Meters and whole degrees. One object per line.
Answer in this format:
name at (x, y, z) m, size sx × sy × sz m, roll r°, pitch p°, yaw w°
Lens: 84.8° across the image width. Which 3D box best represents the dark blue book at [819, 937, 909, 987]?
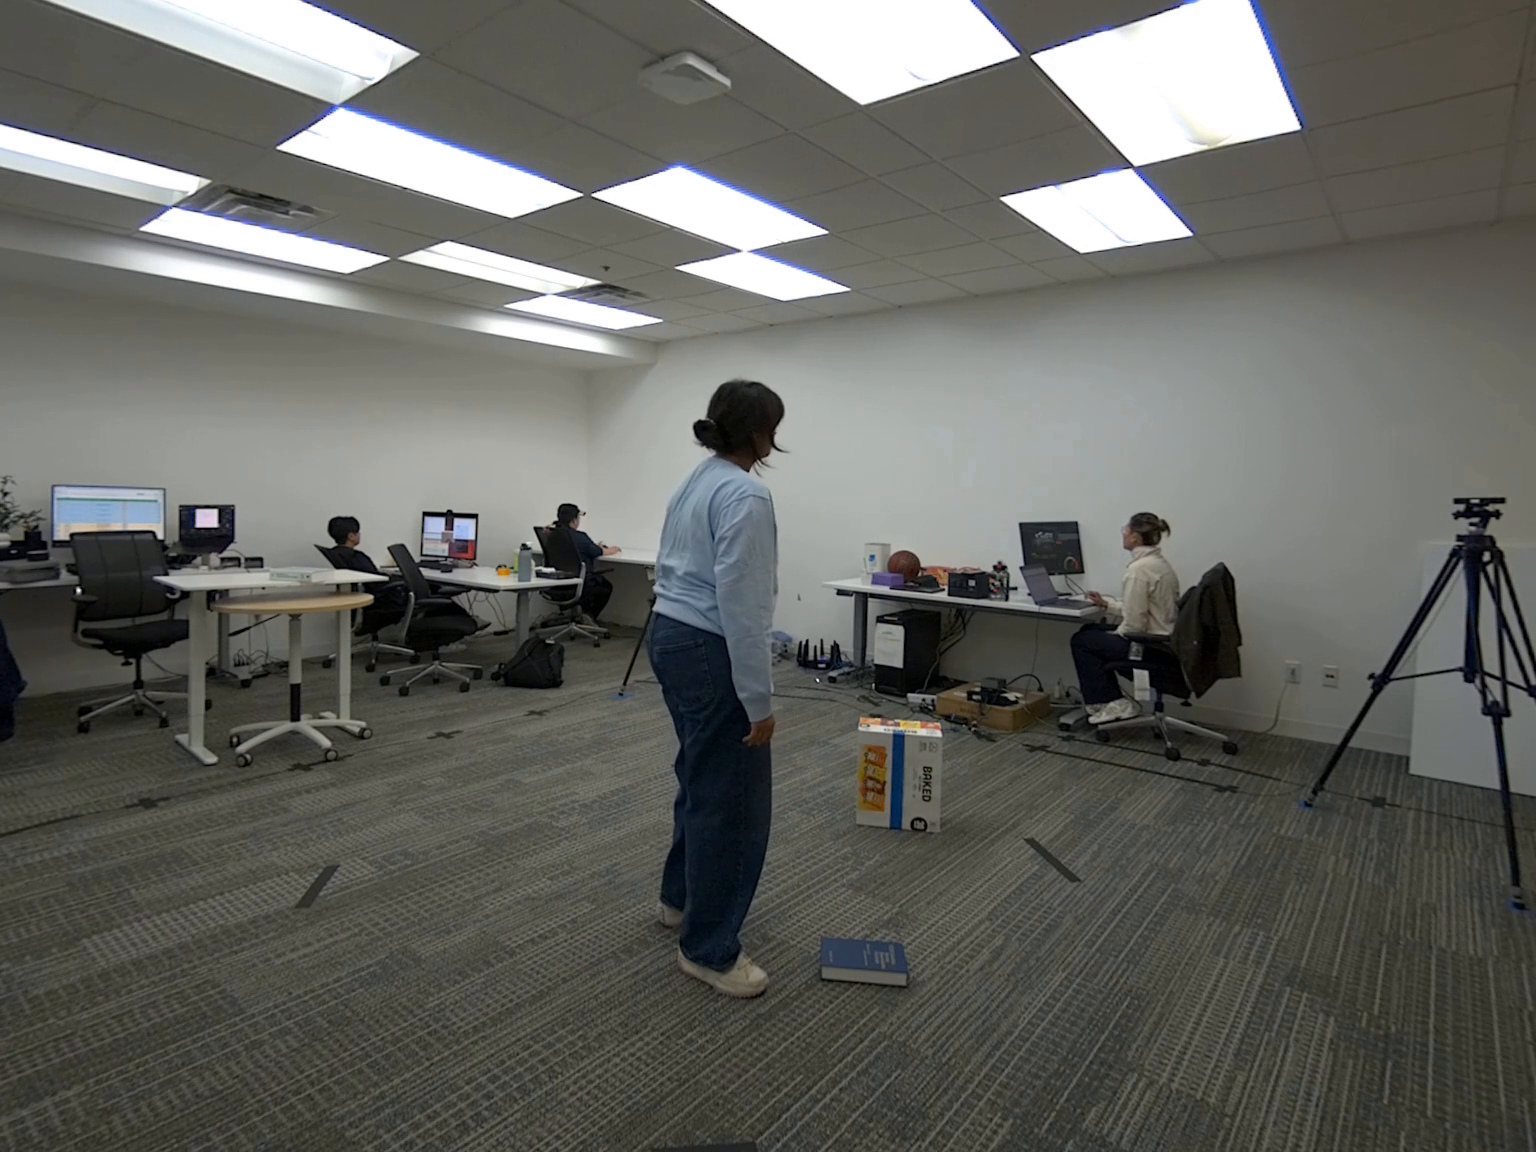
dark blue book at (0.277, 1.120, 2.476) m, size 0.247 × 0.045 × 0.163 m, roll 2°, pitch 5°, yaw 6°
